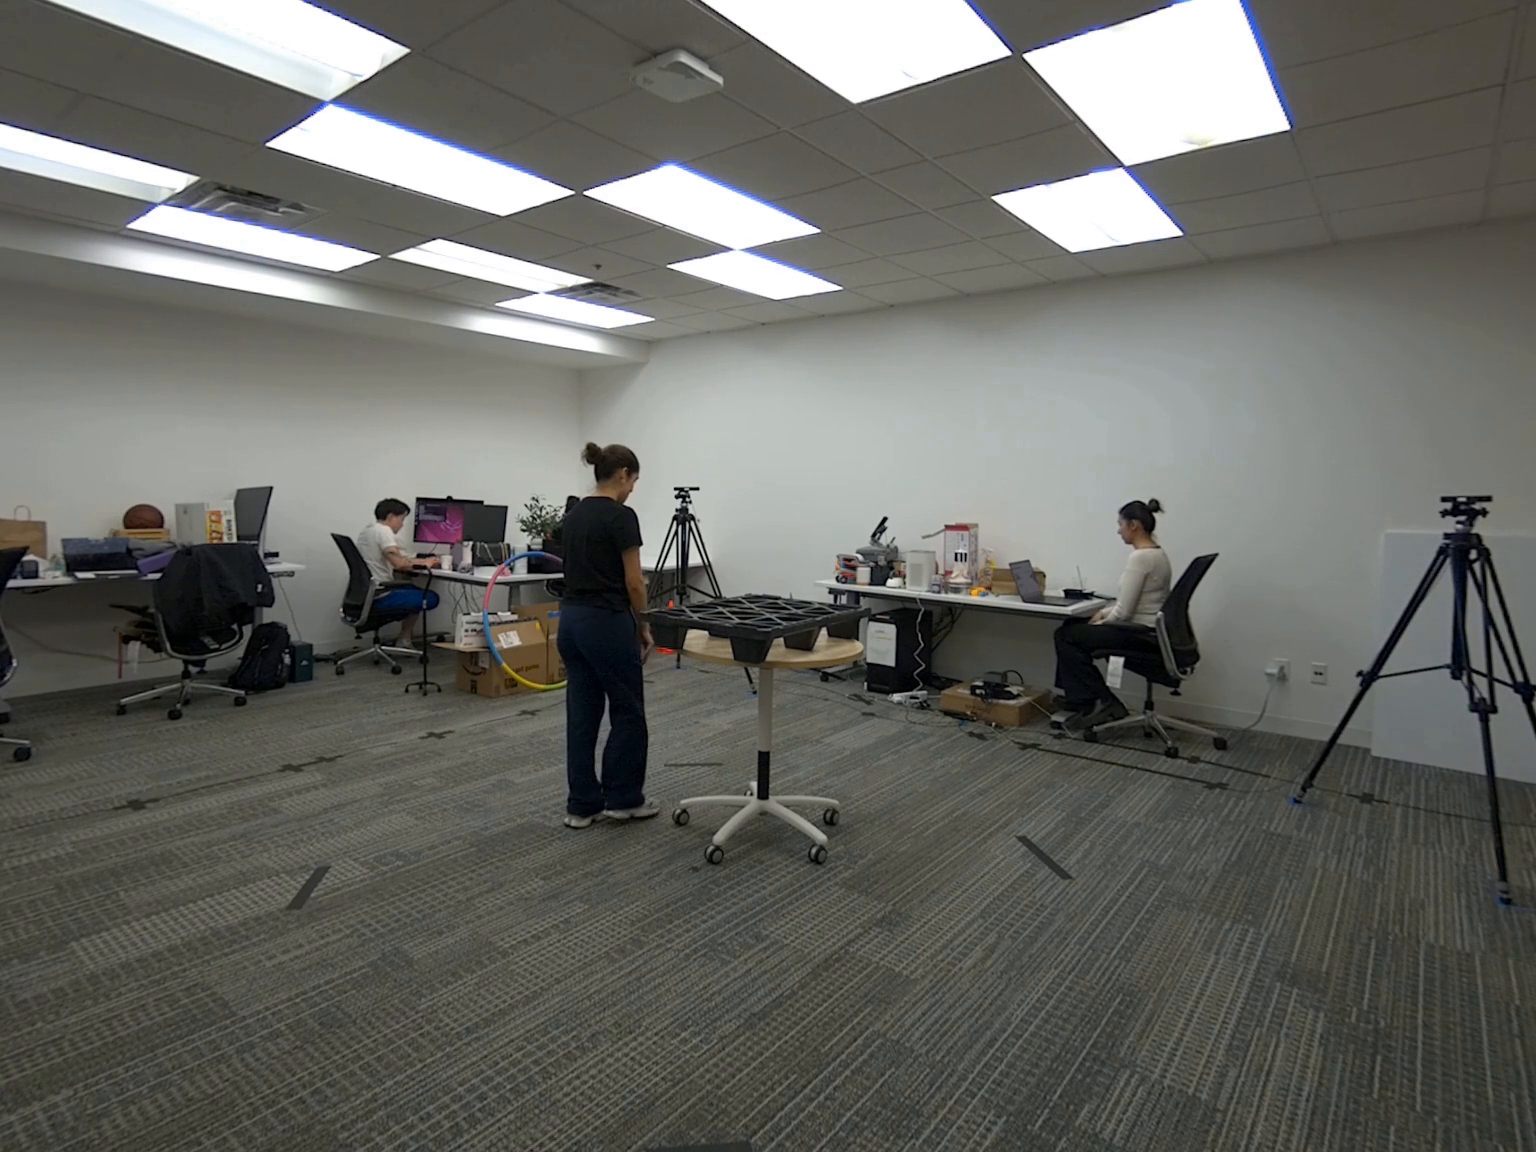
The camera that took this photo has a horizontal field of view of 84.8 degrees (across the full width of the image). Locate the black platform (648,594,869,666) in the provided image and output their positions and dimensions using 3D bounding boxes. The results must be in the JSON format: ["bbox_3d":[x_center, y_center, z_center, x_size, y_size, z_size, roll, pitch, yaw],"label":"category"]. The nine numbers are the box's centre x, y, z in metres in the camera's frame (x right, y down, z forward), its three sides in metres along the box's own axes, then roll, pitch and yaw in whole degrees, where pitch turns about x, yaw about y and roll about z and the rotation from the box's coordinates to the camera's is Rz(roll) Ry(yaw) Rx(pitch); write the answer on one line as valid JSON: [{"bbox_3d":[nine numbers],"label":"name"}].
[{"bbox_3d":[-0.010,0.196,3.399,0.625,0.142,0.783,6,8,36],"label":"black platform"}]
